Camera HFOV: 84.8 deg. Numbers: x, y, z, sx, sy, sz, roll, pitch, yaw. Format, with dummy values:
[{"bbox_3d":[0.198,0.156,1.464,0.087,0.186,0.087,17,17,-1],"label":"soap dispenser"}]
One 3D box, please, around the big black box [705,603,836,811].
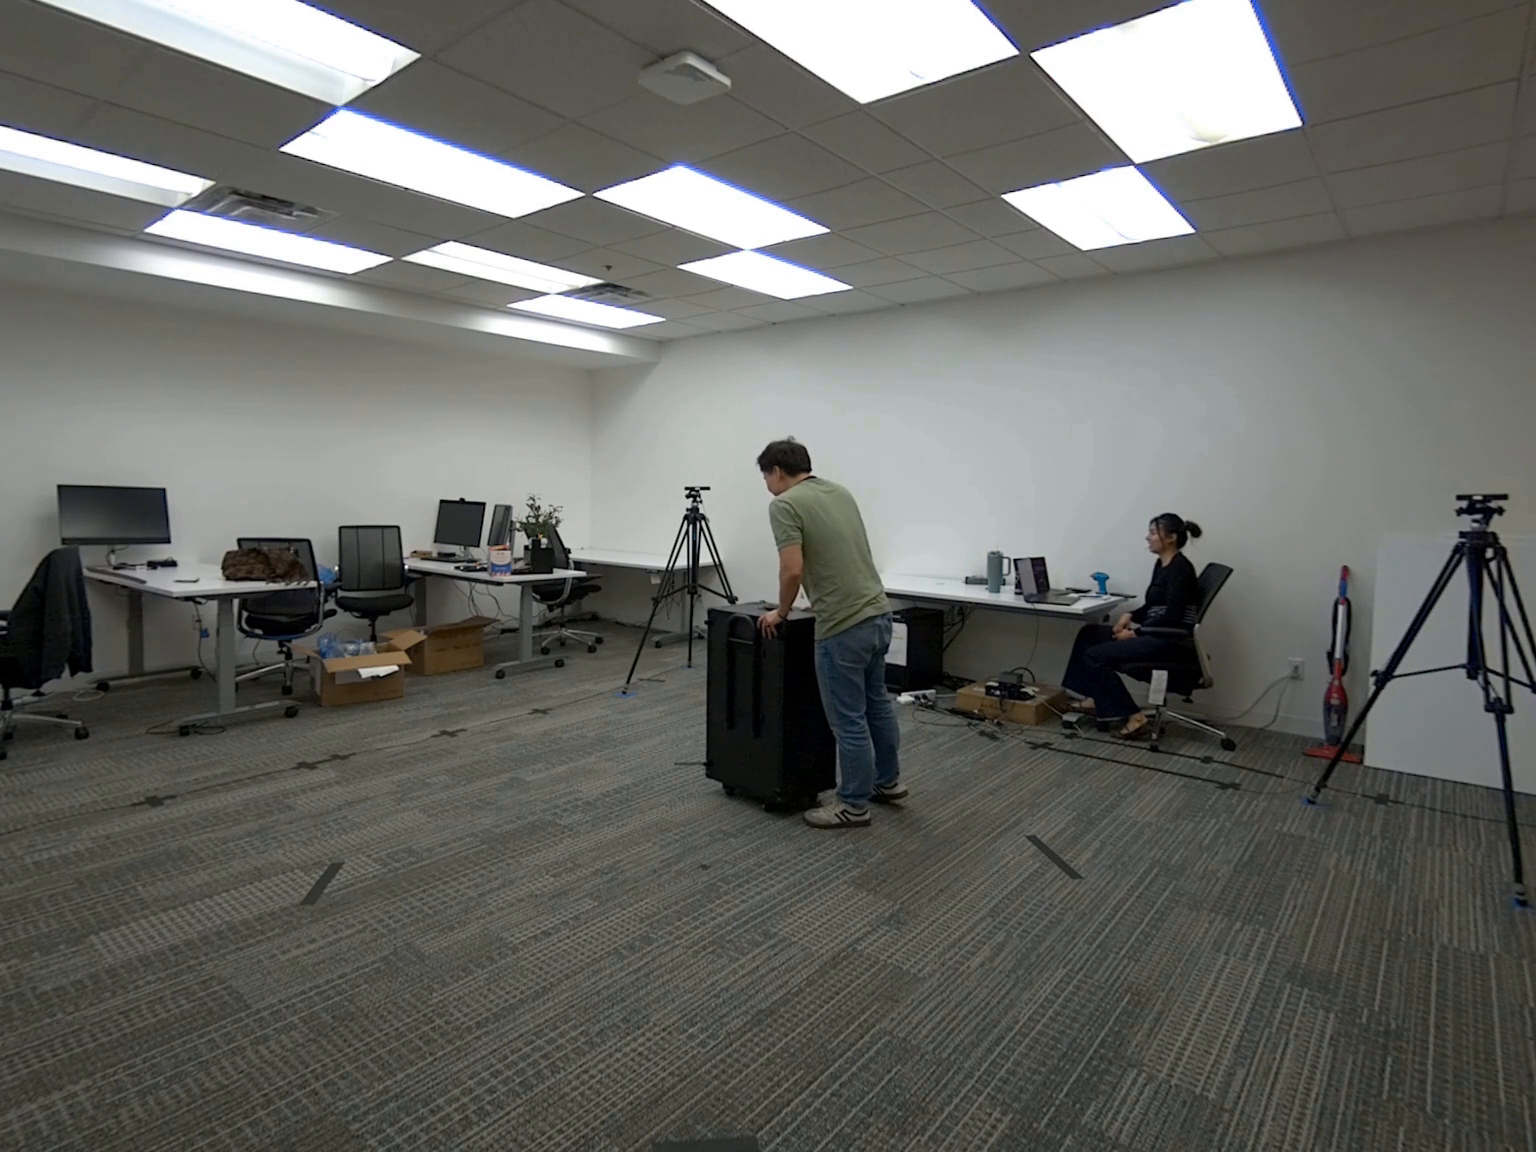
[{"bbox_3d":[-0.007,0.576,3.817,0.539,0.858,0.384,4,6,45],"label":"big black box"}]
